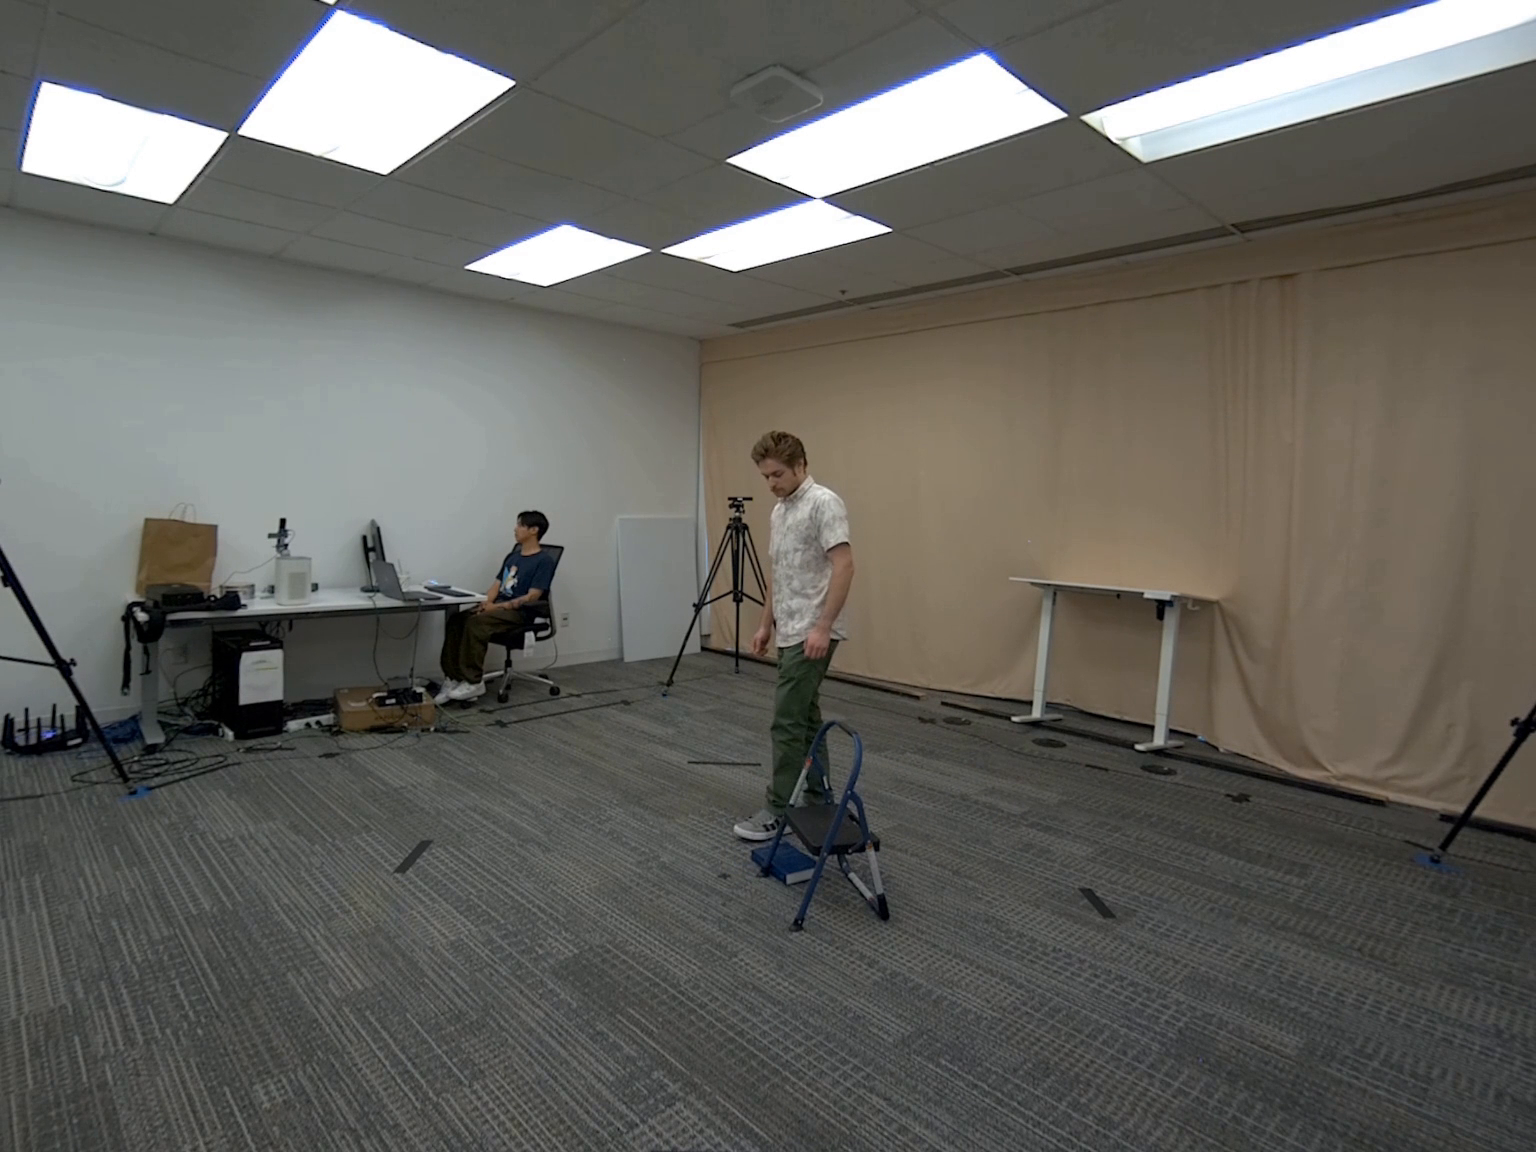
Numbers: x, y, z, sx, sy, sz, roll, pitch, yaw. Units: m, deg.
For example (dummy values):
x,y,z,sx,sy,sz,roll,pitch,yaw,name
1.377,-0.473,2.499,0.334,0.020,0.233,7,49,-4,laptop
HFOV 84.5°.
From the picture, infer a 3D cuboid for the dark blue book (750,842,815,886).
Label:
x,y,z,sx,sy,sz,roll,pitch,yaw,name
0.061,1.086,3.179,0.160,0.045,0.251,-2,6,-31,dark blue book
